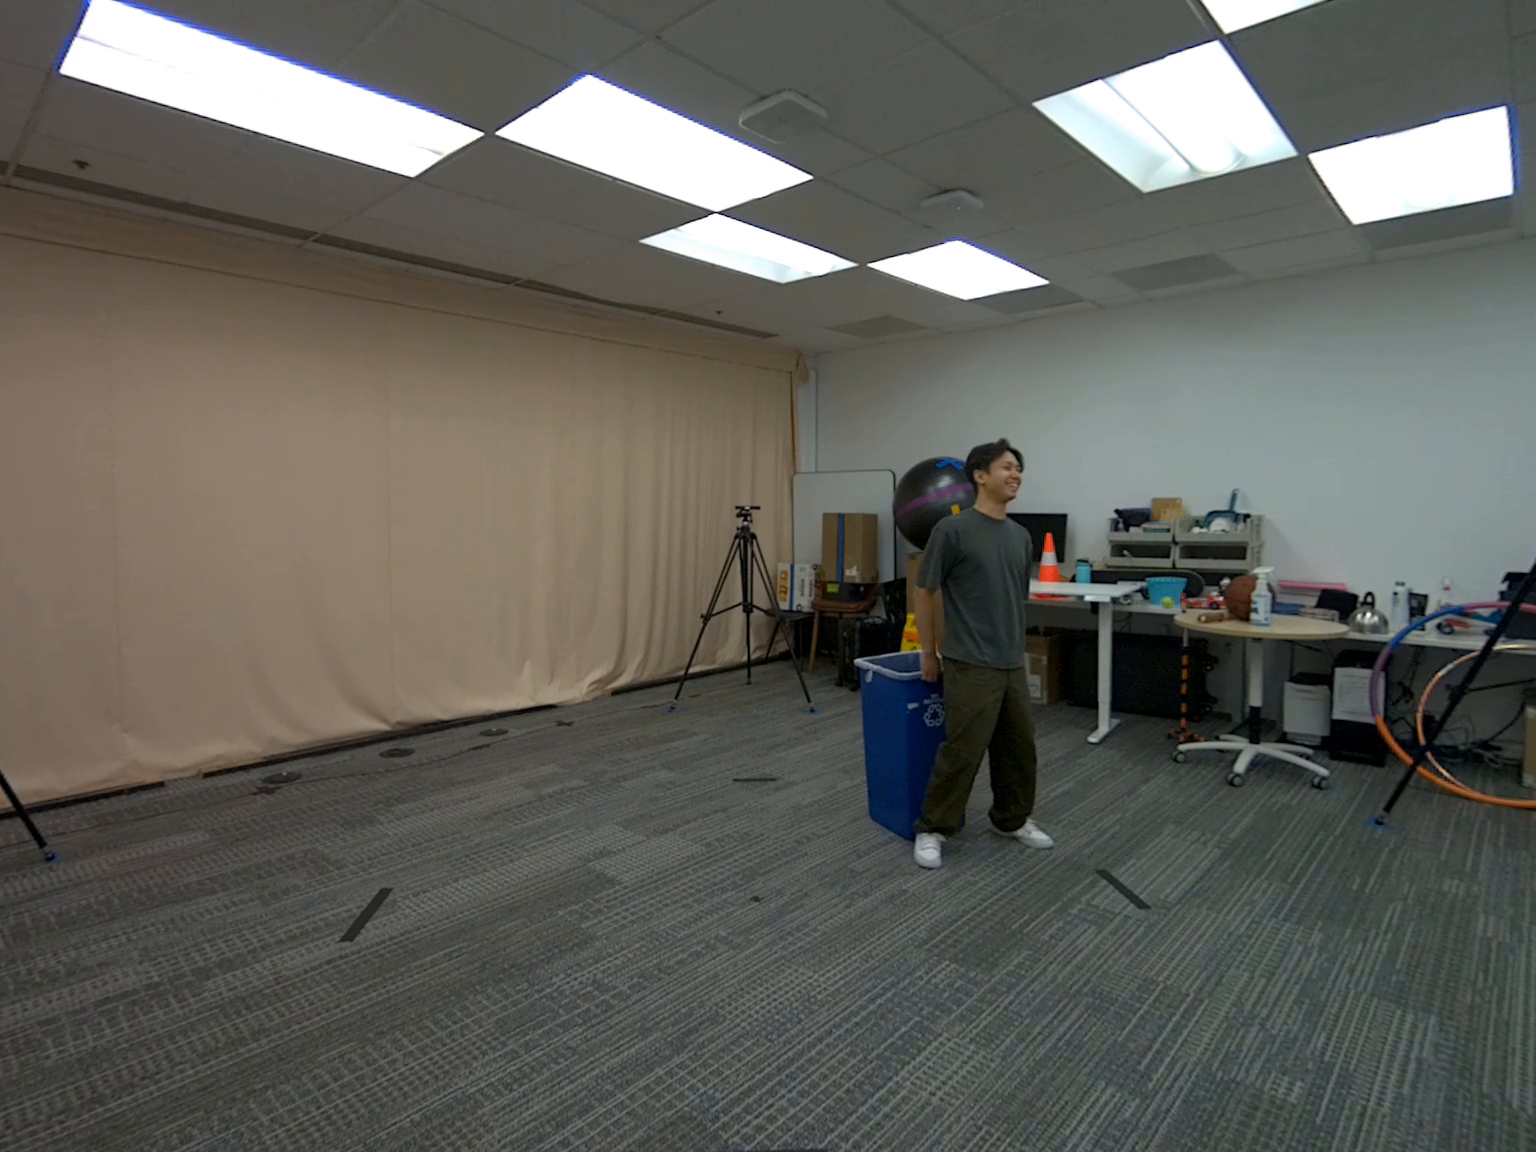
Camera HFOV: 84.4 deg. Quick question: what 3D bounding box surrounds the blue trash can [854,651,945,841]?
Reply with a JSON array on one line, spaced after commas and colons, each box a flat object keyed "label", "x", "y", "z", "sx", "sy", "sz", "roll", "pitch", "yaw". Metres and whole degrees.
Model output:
[{"label": "blue trash can", "x": 0.640, "y": 0.722, "z": 3.666, "sx": 0.365, "sy": 0.711, "sz": 0.388, "roll": -5, "pitch": 6, "yaw": -26}]
